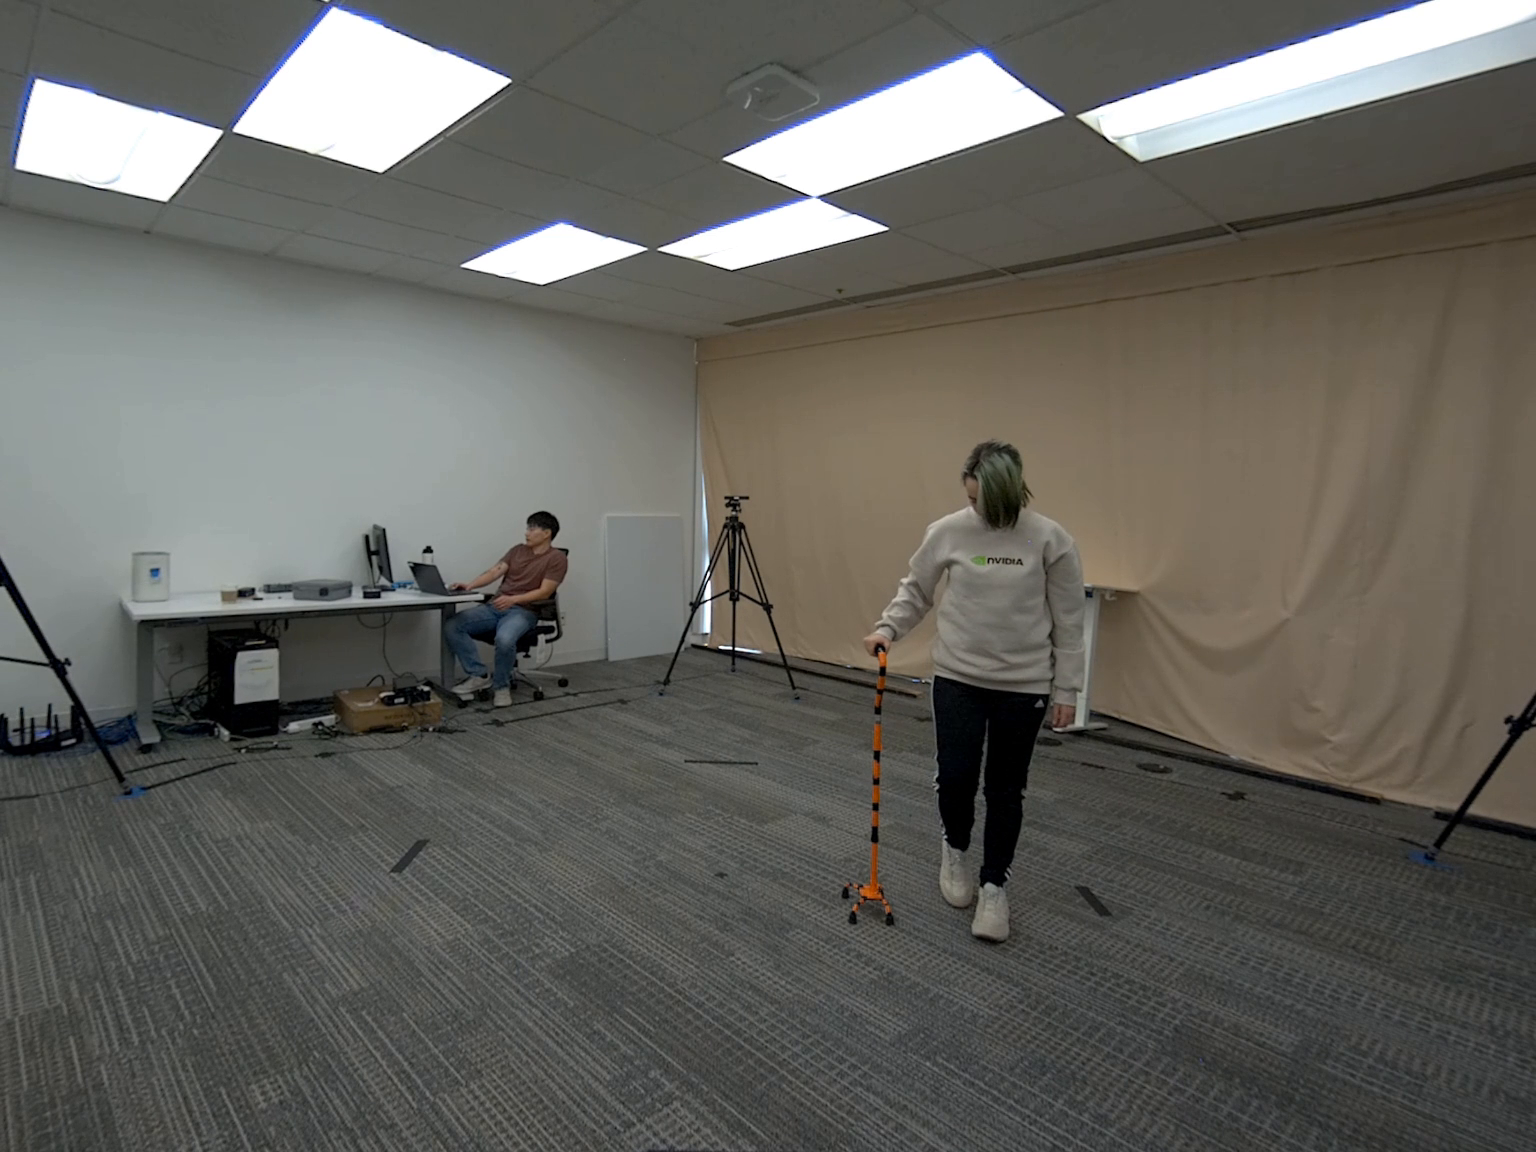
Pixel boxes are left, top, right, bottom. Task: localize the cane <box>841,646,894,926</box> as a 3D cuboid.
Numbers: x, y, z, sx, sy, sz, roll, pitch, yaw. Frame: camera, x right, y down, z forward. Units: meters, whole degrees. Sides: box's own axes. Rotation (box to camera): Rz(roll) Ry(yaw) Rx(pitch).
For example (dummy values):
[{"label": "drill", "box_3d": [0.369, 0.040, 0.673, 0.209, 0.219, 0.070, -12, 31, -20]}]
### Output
[{"label": "cane", "box_3d": [0.342, 0.684, 2.843, 0.151, 0.905, 0.207, 1, 3, -4]}]
